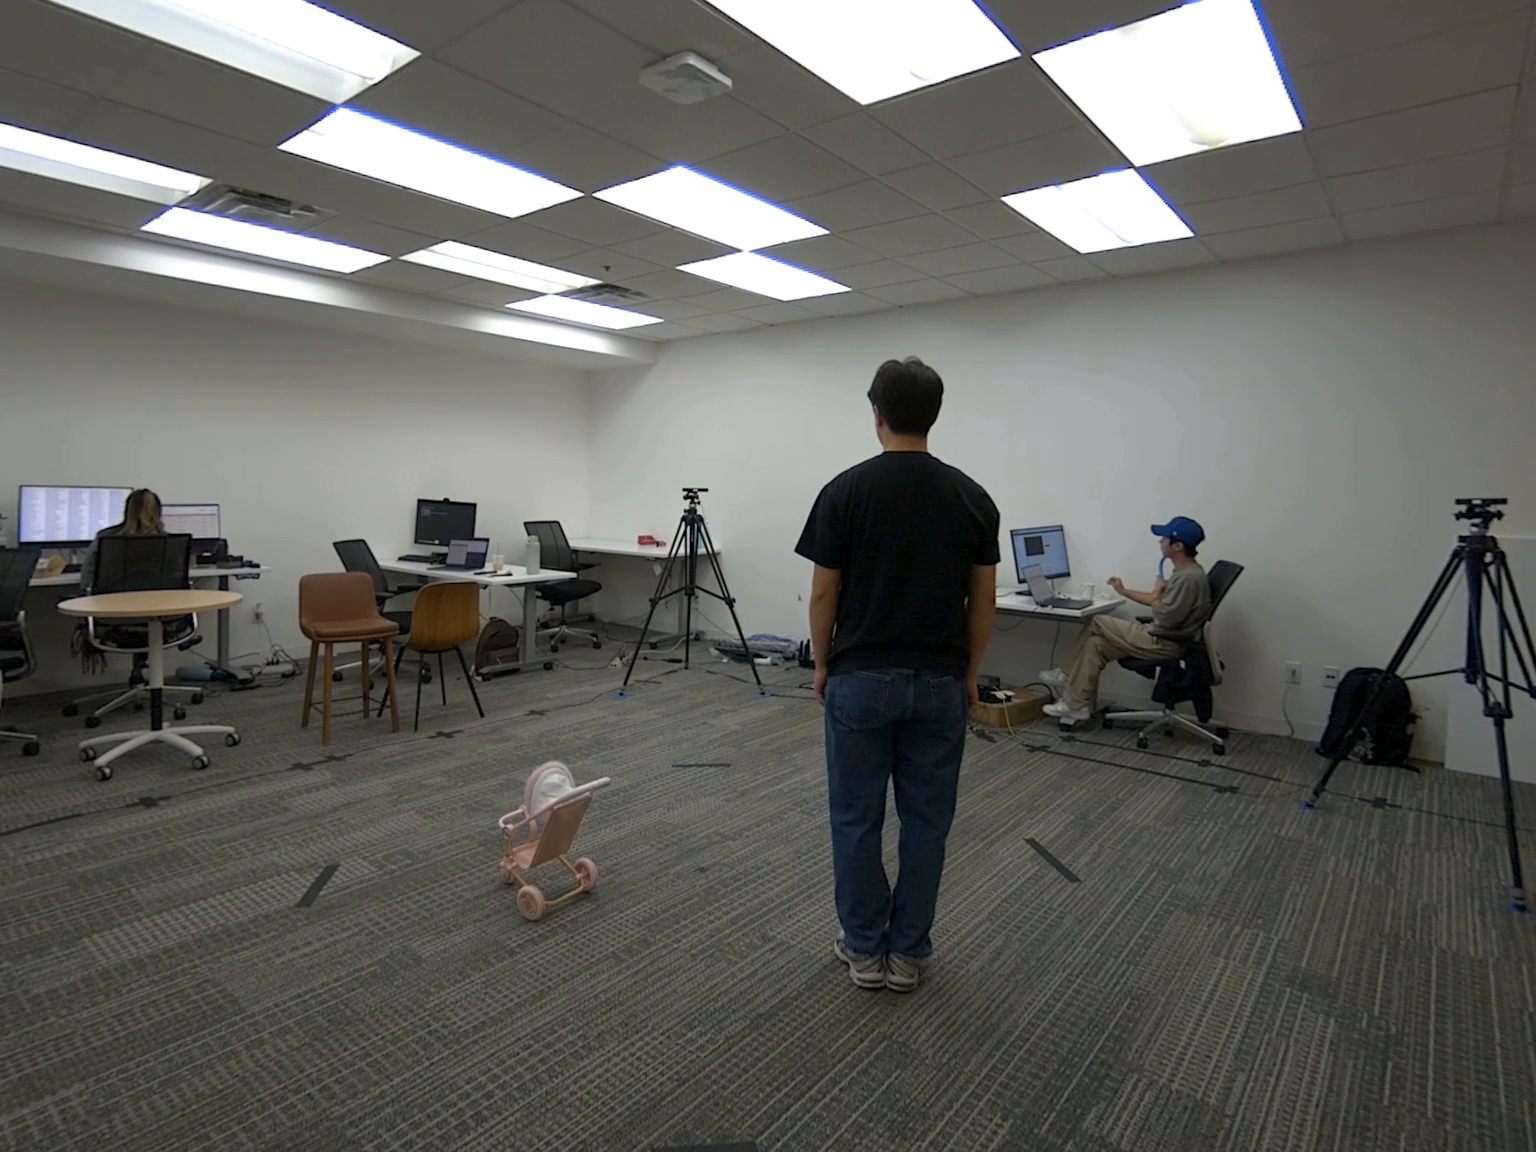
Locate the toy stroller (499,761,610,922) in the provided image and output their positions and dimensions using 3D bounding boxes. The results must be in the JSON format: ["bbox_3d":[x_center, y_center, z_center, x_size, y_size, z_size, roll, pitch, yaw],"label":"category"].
[{"bbox_3d":[-0.756,0.858,2.856,0.355,0.530,0.273,22,15,36],"label":"toy stroller"}]
